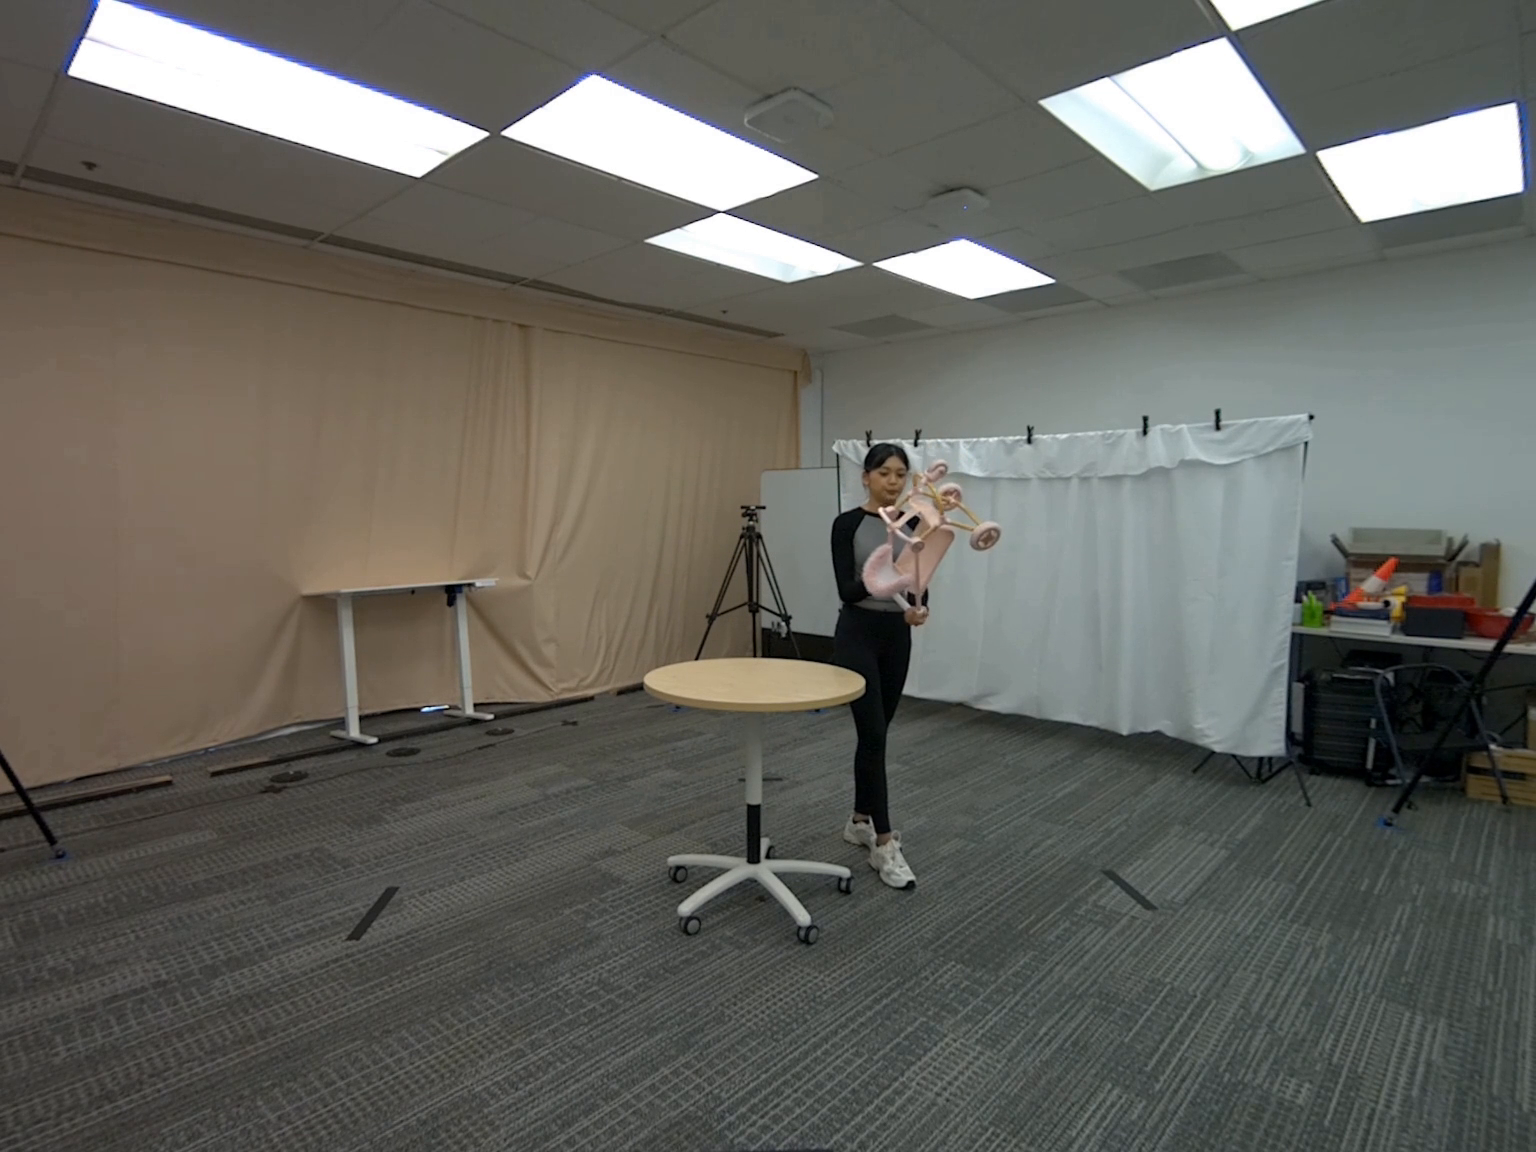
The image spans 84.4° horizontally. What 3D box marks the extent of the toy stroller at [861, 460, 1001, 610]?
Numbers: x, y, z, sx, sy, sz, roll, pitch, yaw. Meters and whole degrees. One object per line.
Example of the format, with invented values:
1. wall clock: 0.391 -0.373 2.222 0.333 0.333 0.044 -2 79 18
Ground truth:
1. toy stroller: 0.498 -0.130 2.824 0.329 0.536 0.291 21 26 -39
